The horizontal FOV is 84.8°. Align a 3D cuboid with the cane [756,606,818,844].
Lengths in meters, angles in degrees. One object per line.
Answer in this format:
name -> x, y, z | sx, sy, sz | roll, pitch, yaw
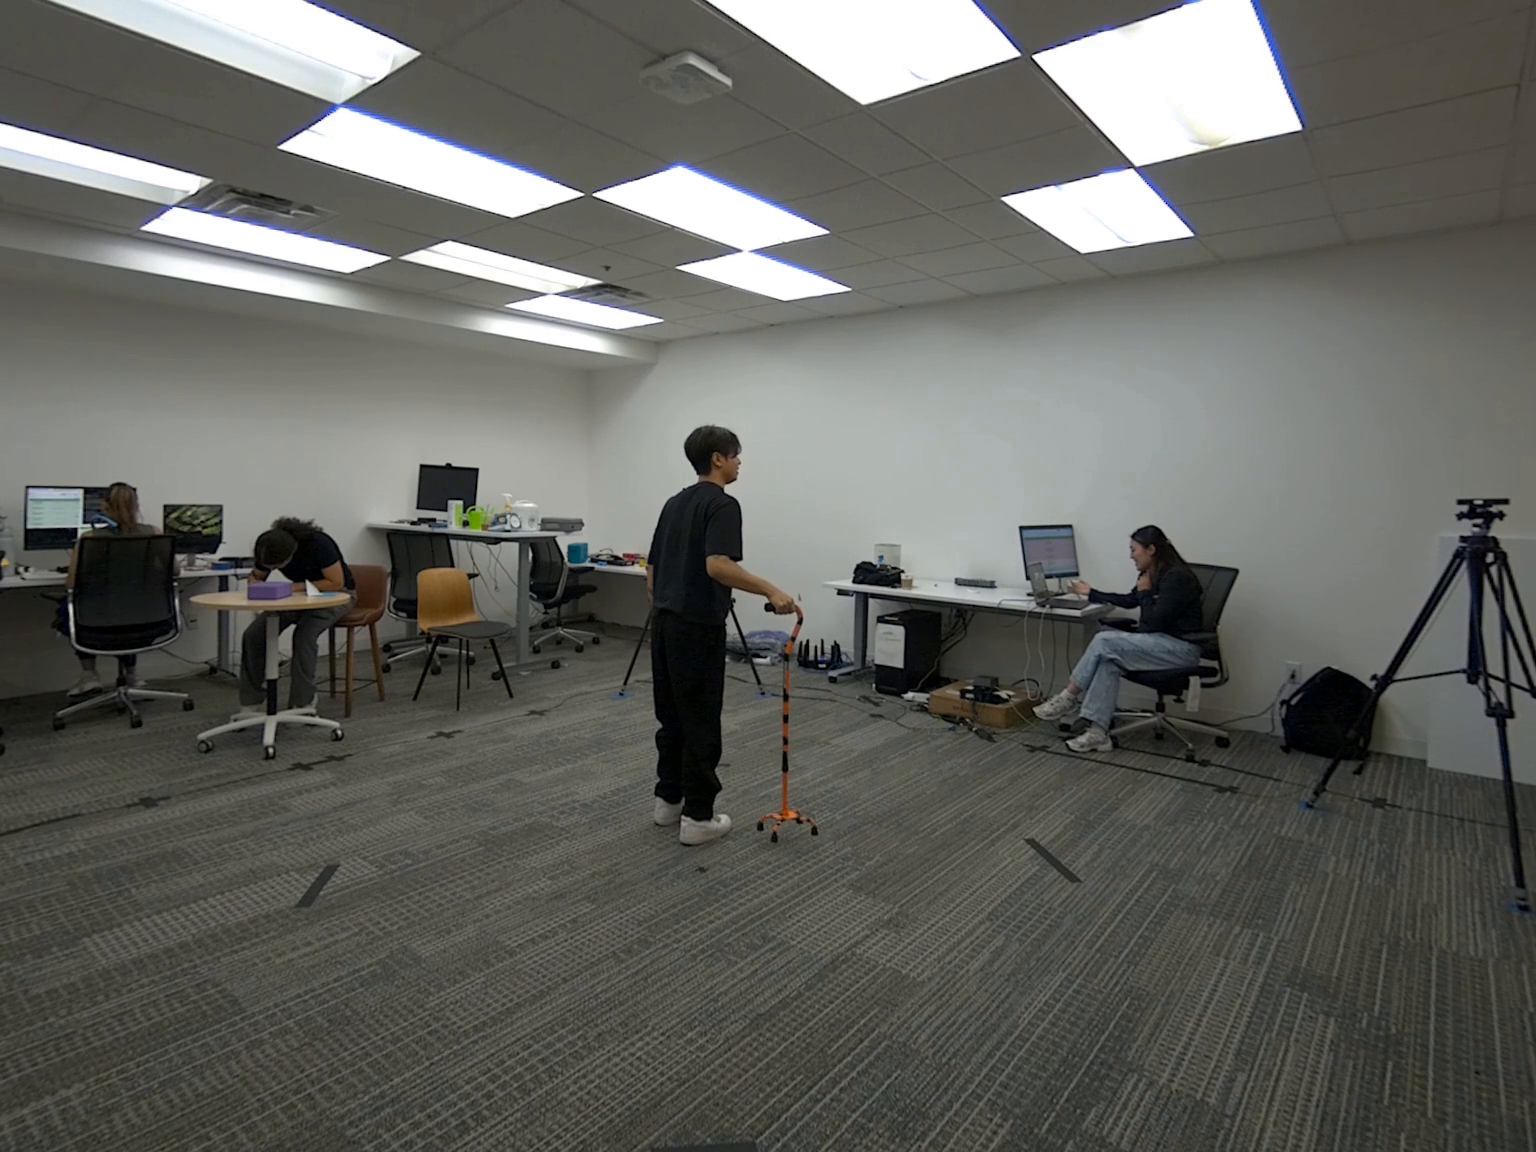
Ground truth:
cane -> 0.070, 0.561, 3.323 | 0.201, 0.905, 0.156 | -1, 4, -27
